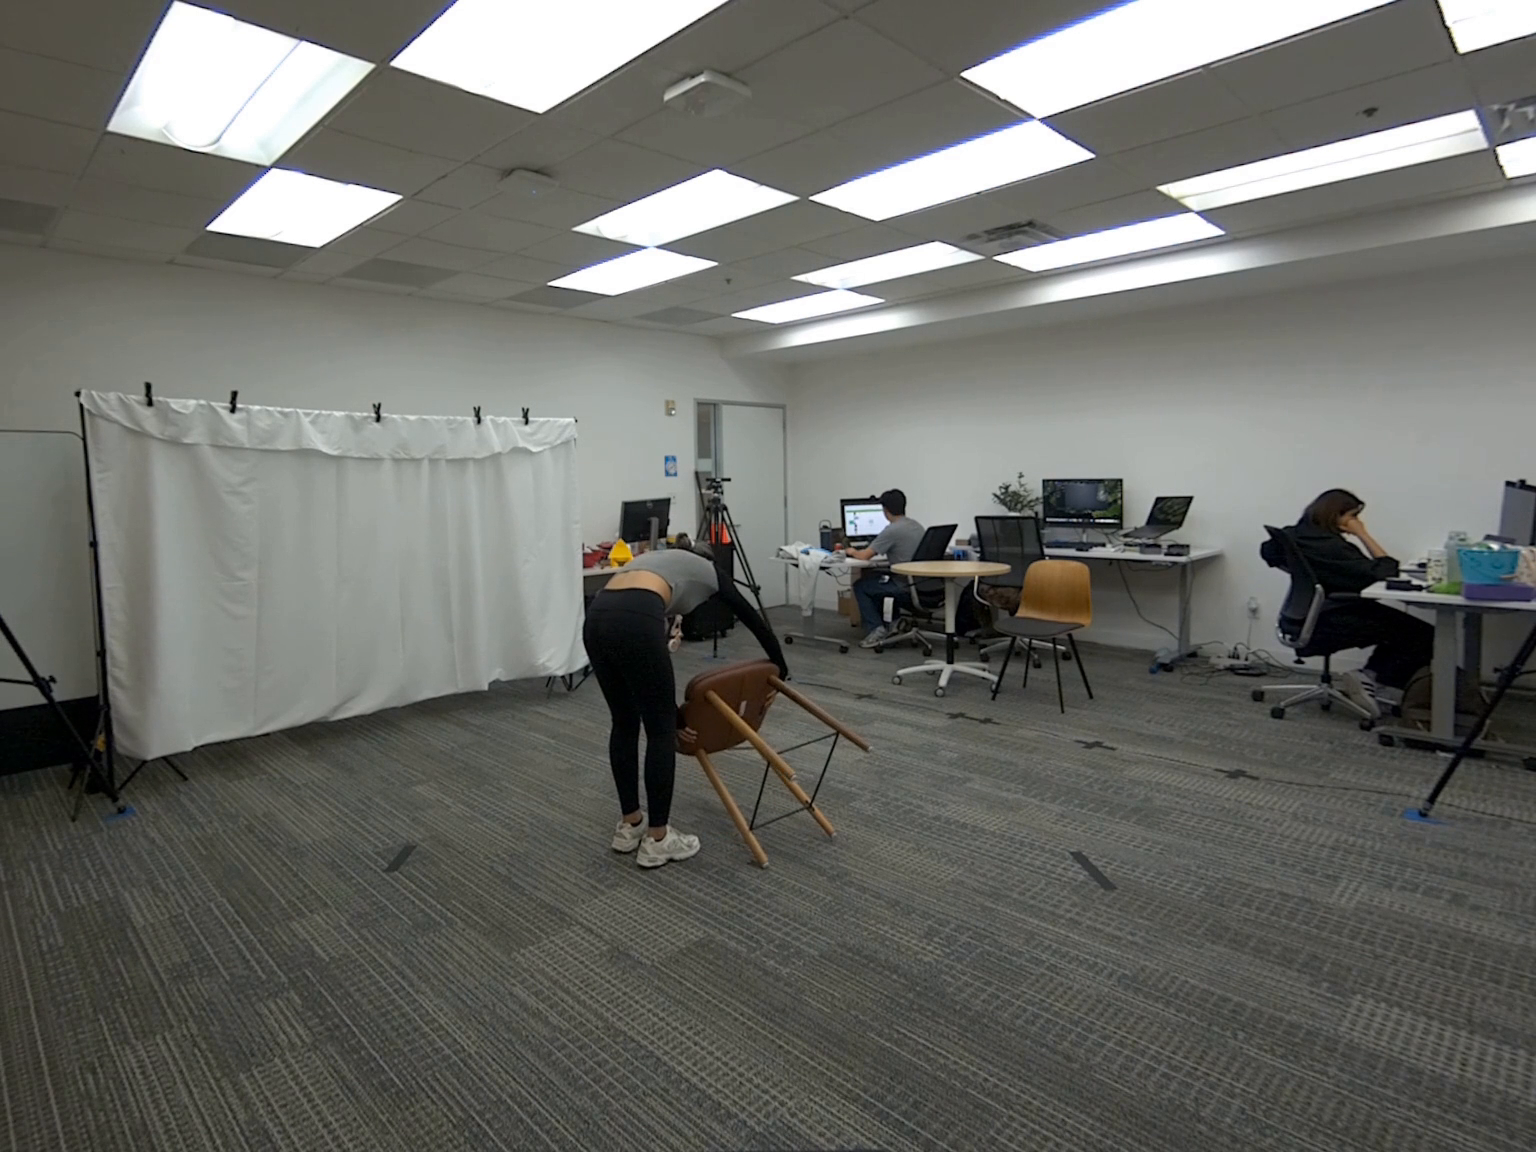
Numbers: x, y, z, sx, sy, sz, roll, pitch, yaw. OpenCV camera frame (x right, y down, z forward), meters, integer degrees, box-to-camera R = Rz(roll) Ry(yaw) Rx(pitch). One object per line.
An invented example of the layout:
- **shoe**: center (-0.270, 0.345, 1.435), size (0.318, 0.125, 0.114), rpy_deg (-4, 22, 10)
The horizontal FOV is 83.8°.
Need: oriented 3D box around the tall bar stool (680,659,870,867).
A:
- **tall bar stool**: center (-0.089, 0.621, 3.373), size (0.445, 0.460, 0.925), rpy_deg (-8, 33, -38)
